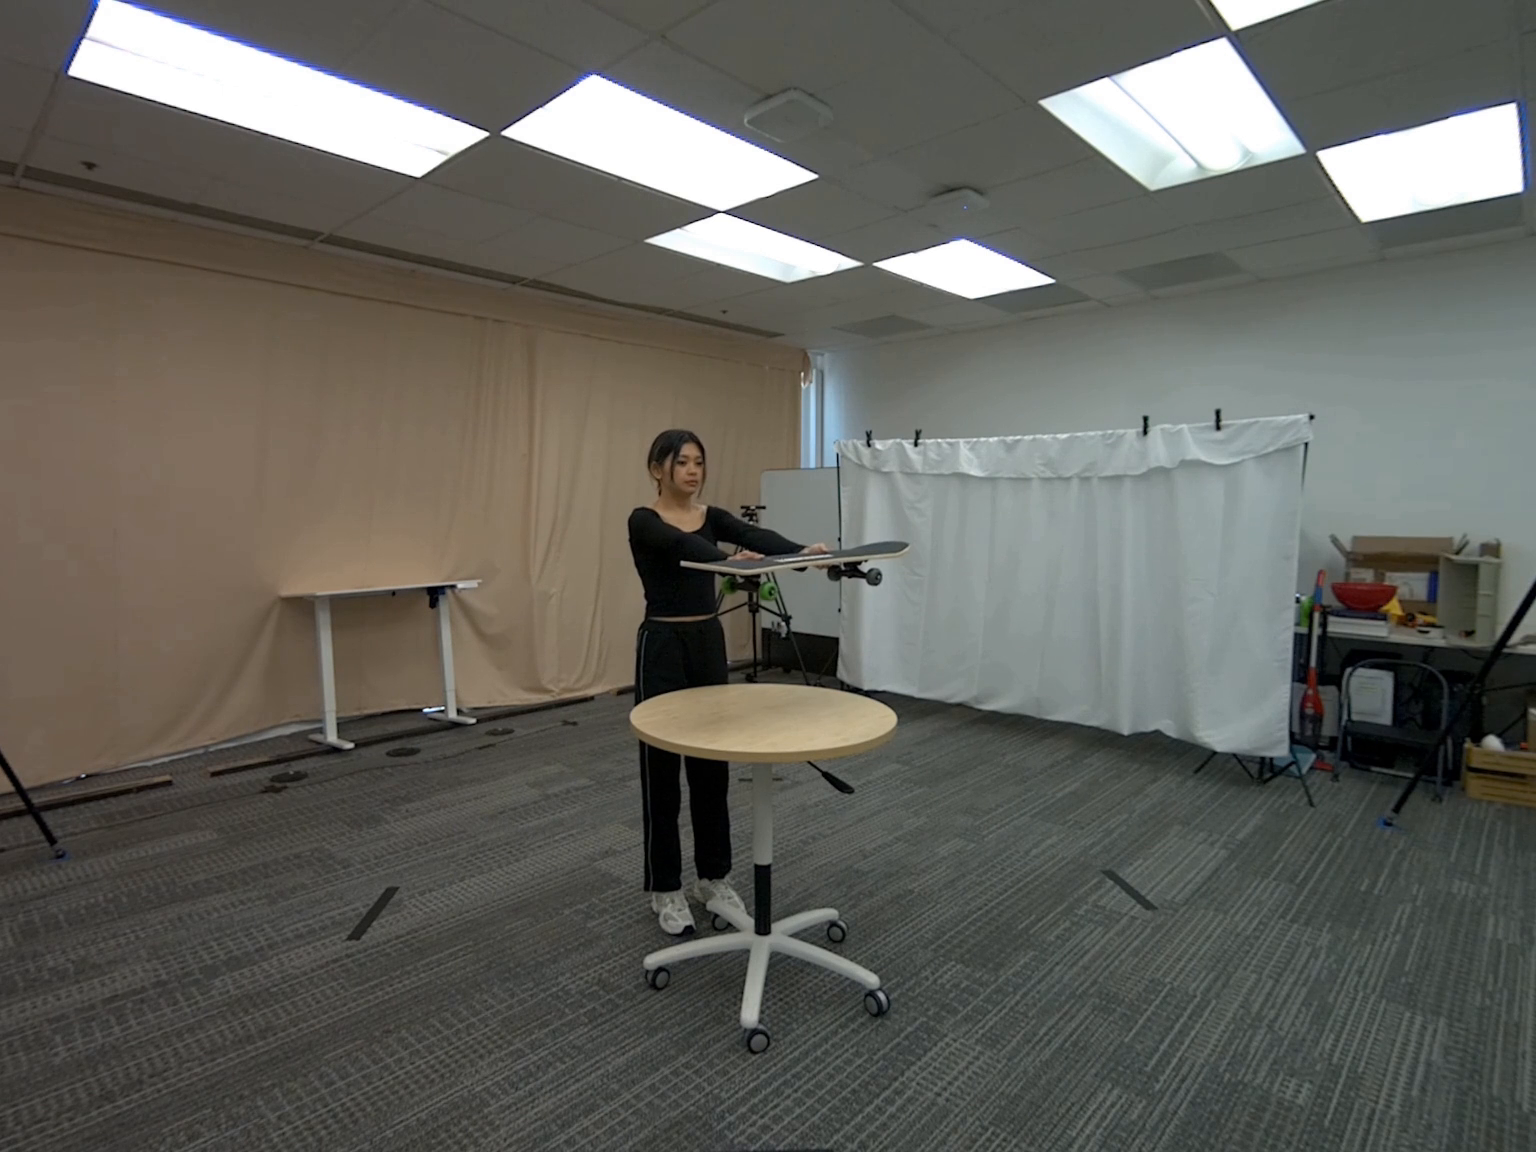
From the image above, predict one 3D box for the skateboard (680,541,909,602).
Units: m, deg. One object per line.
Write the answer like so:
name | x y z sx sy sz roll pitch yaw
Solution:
skateboard | 0.104 -0.015 2.304 0.762 0.110 0.200 -6 7 -38
